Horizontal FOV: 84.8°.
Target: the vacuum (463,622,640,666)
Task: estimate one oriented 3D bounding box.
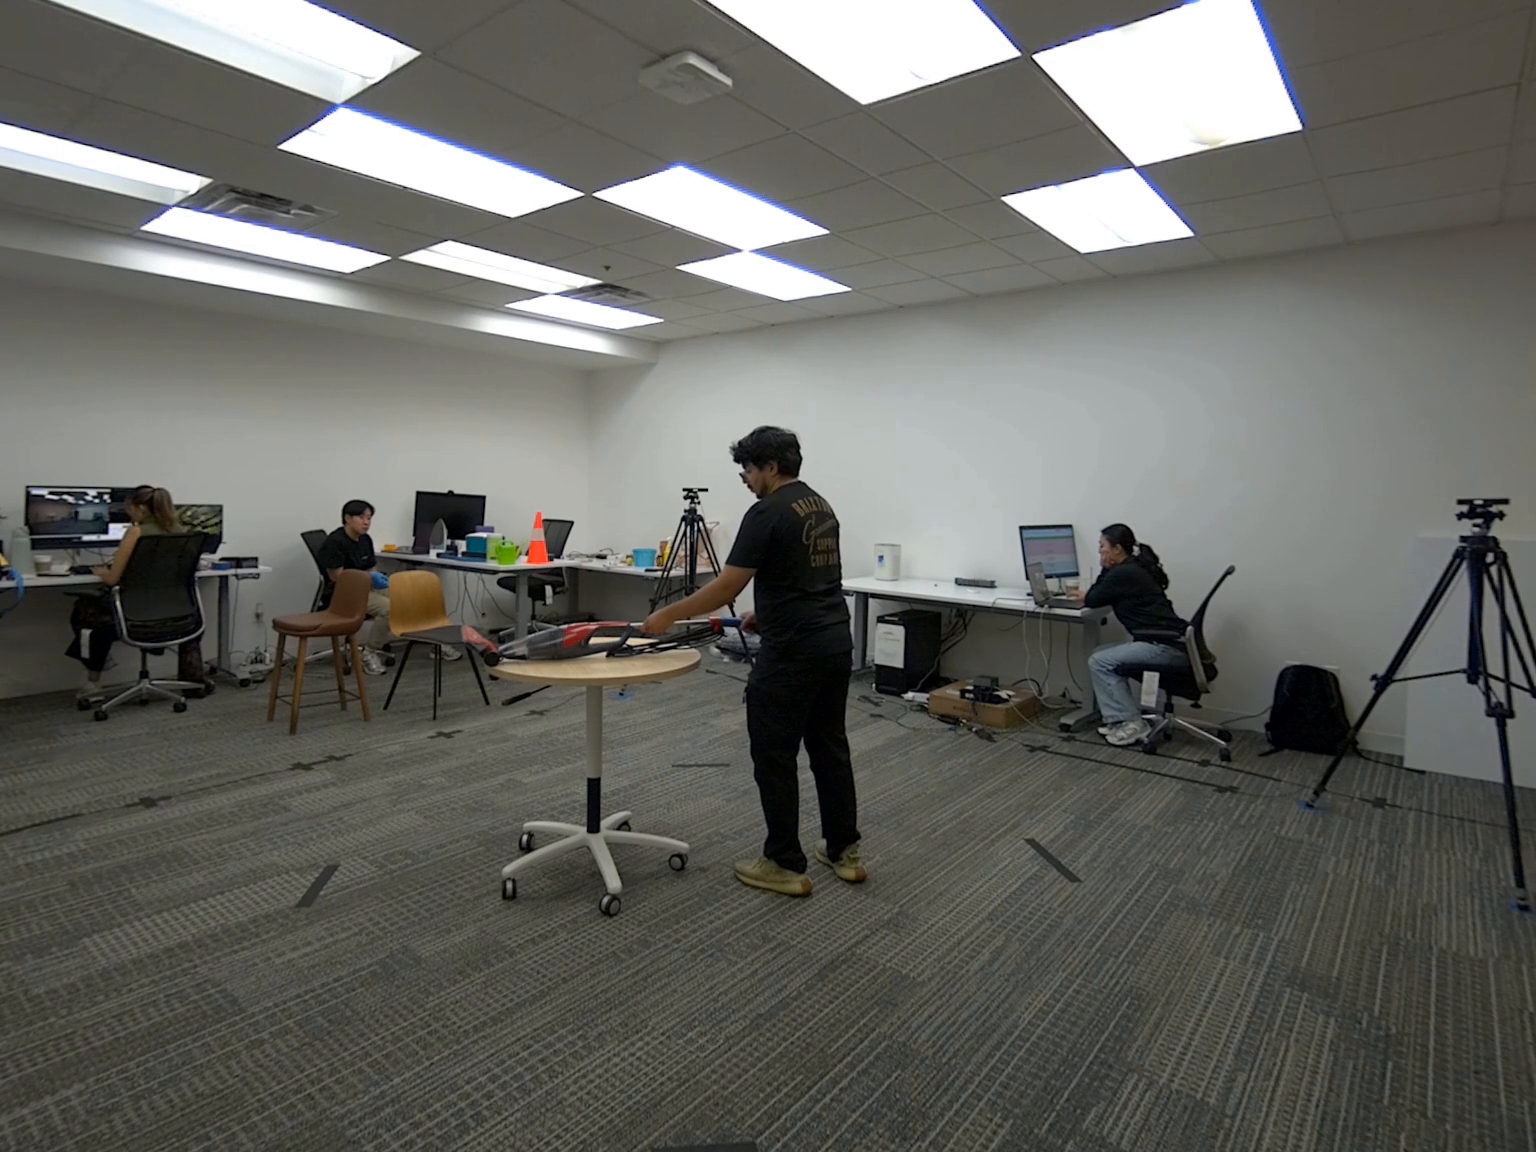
[{"bbox_3d":[-0.524,0.226,3.052,1.029,0.143,0.259,-2,7,-20],"label":"vacuum"}]
